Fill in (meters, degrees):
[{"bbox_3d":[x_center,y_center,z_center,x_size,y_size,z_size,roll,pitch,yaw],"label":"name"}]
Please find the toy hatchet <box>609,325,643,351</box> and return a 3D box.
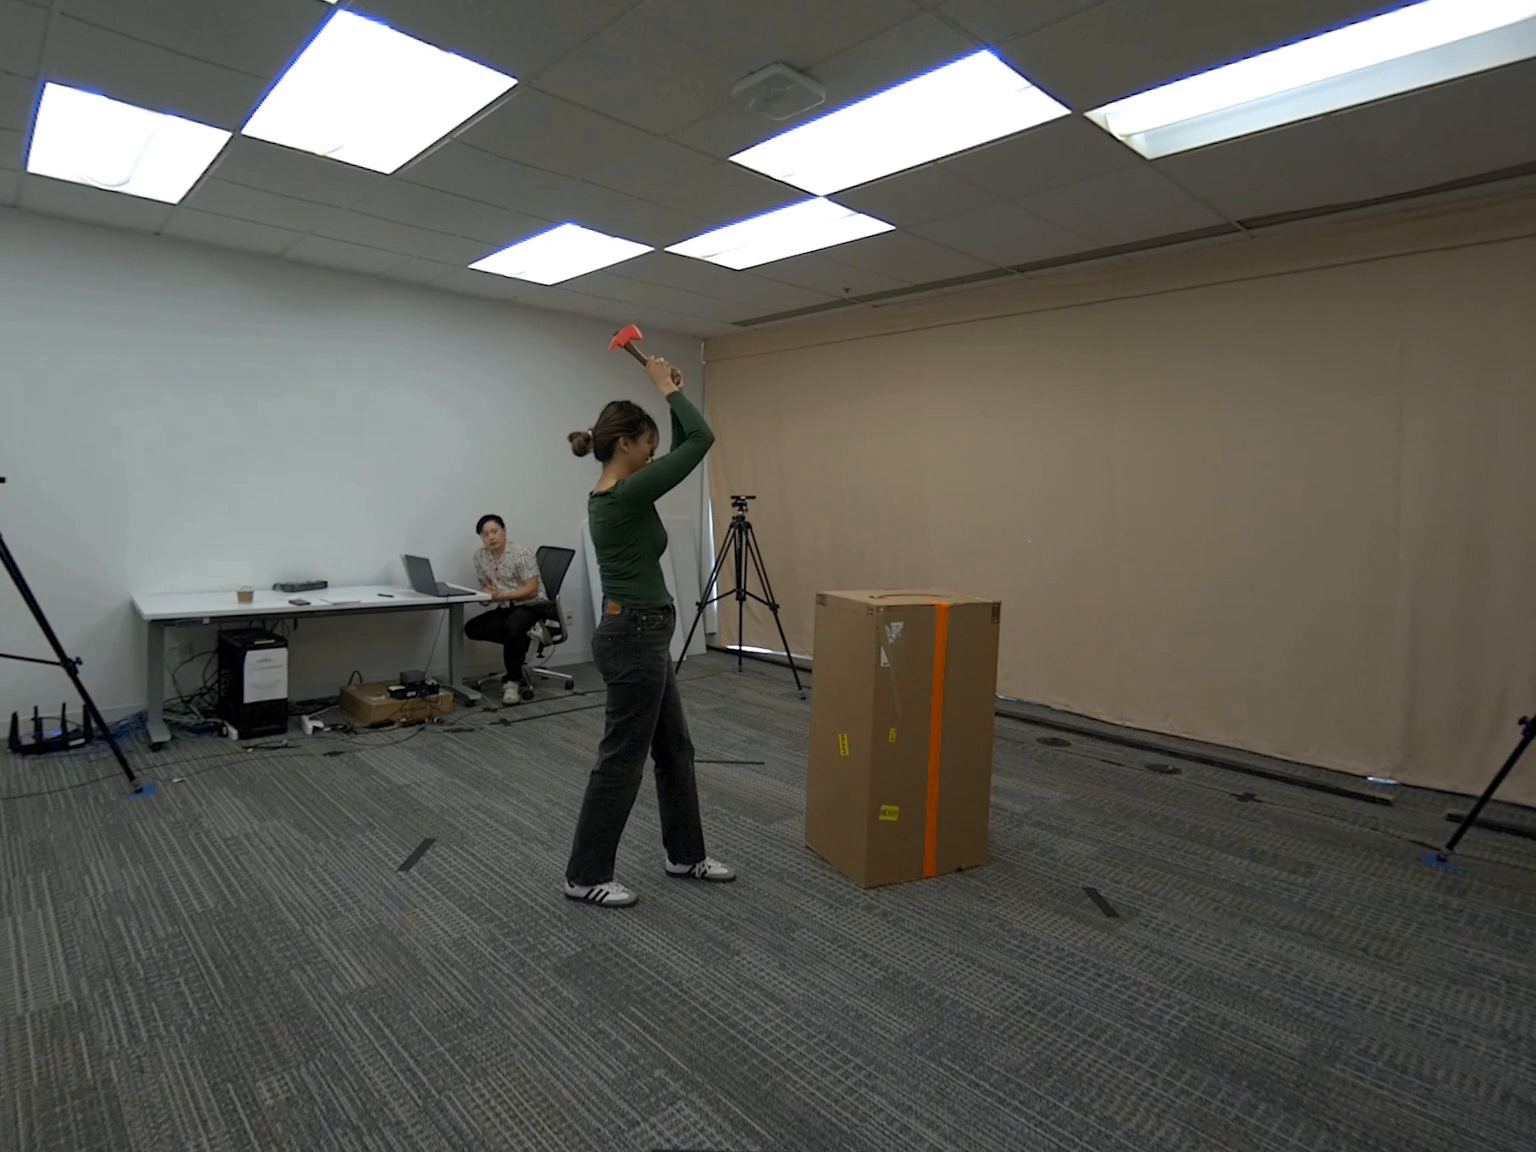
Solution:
[{"bbox_3d":[-0.393,-0.777,2.887,0.265,0.132,0.030,24,-12,-19],"label":"toy hatchet"}]
